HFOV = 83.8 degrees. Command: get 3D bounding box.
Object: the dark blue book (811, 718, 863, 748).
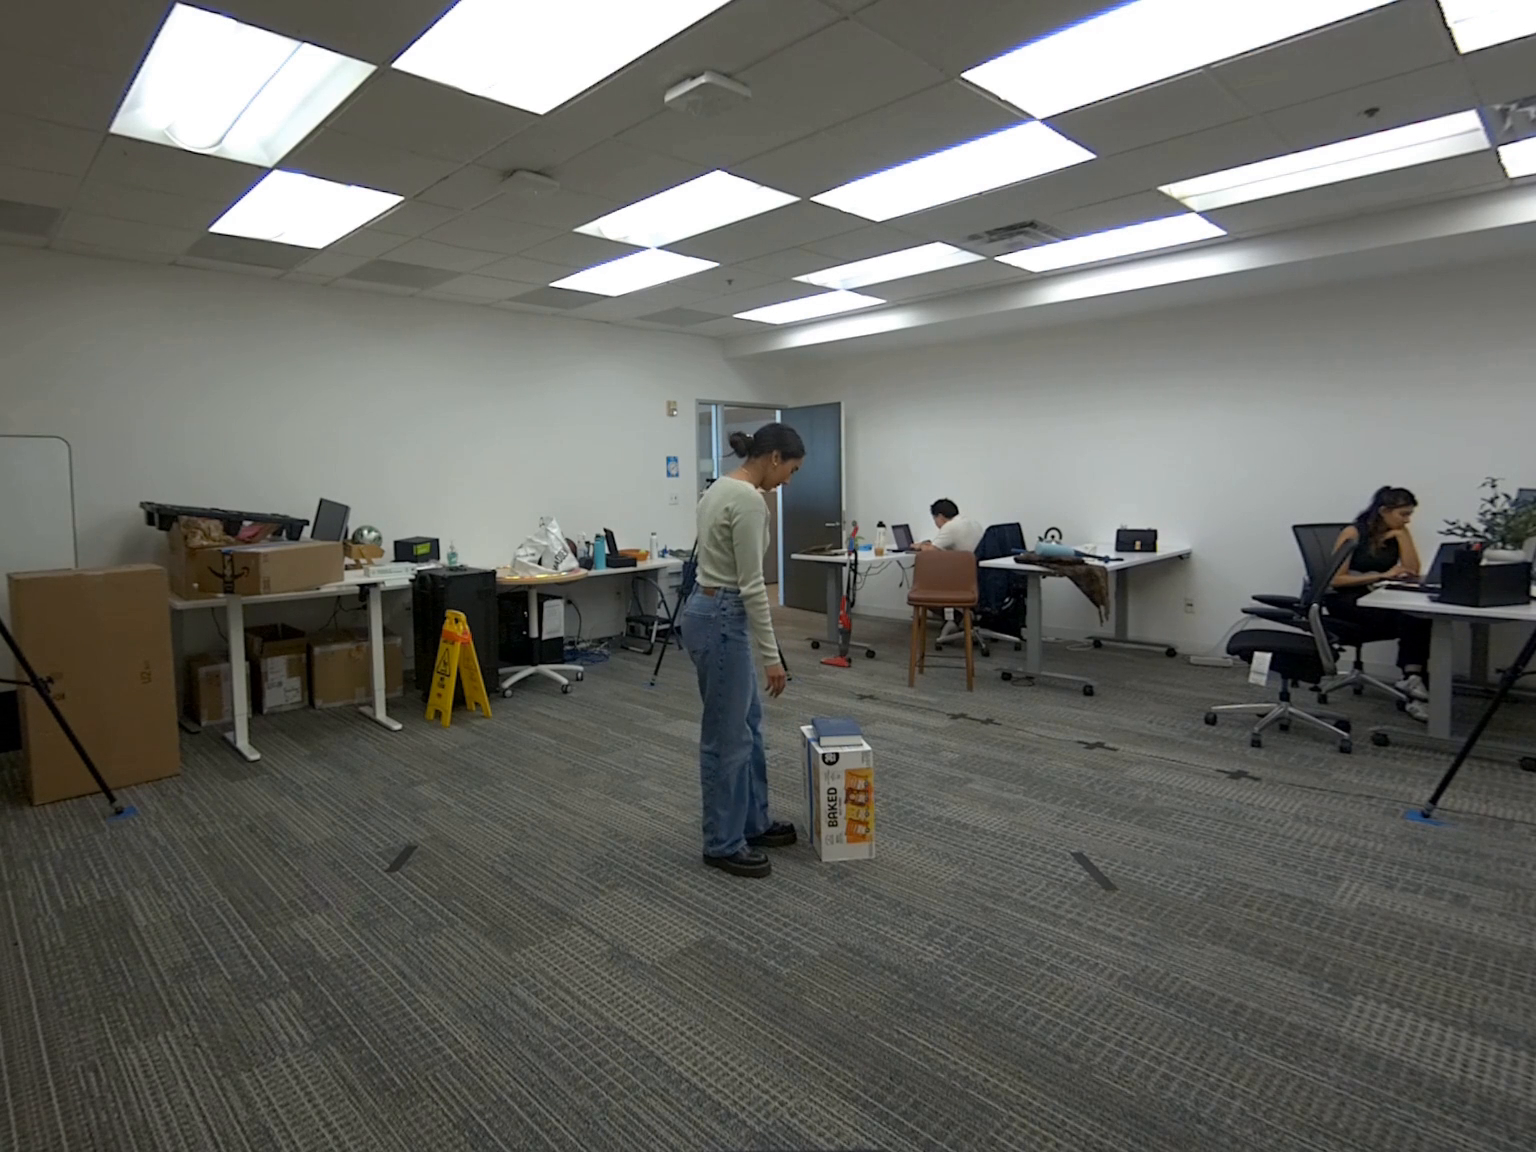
[{"bbox_3d":[0.257,0.599,3.277,0.163,0.045,0.246,1,6,-1],"label":"dark blue book"}]
